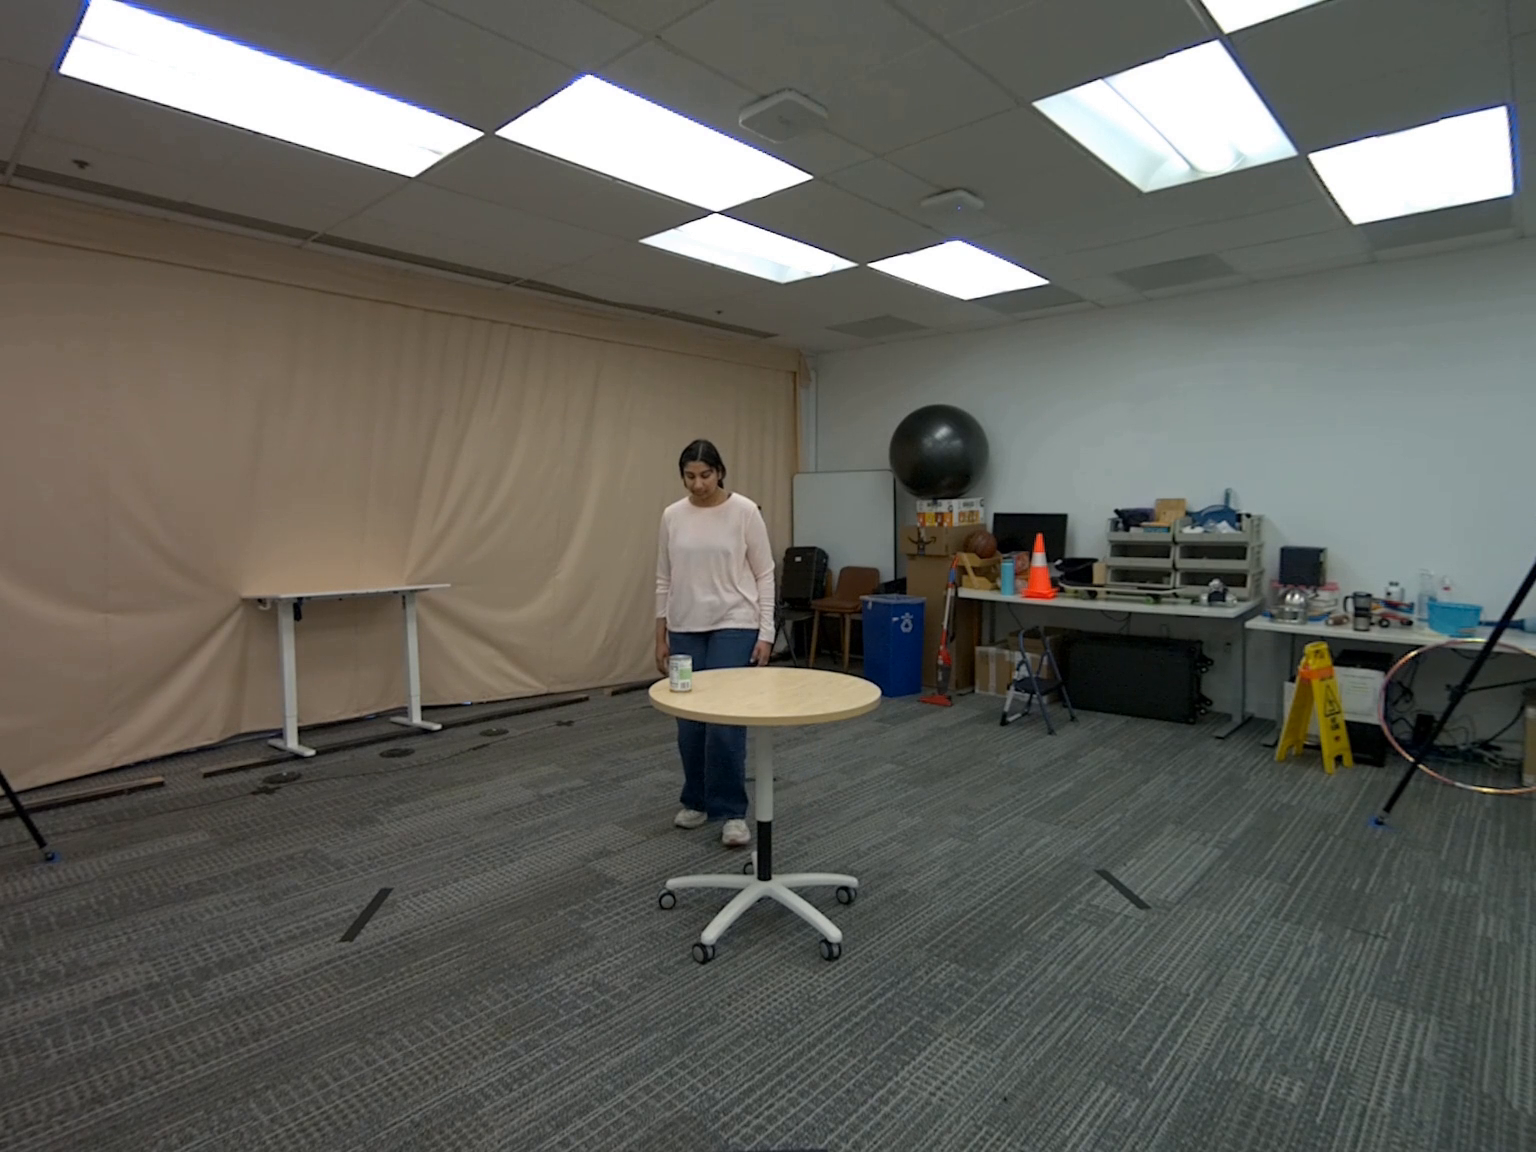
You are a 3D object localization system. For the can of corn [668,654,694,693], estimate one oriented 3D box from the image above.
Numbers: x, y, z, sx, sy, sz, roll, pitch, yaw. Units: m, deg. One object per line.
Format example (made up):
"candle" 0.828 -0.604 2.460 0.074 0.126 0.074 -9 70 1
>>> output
"can of corn" -0.284 0.321 2.783 0.074 0.111 0.074 -1 2 -2
